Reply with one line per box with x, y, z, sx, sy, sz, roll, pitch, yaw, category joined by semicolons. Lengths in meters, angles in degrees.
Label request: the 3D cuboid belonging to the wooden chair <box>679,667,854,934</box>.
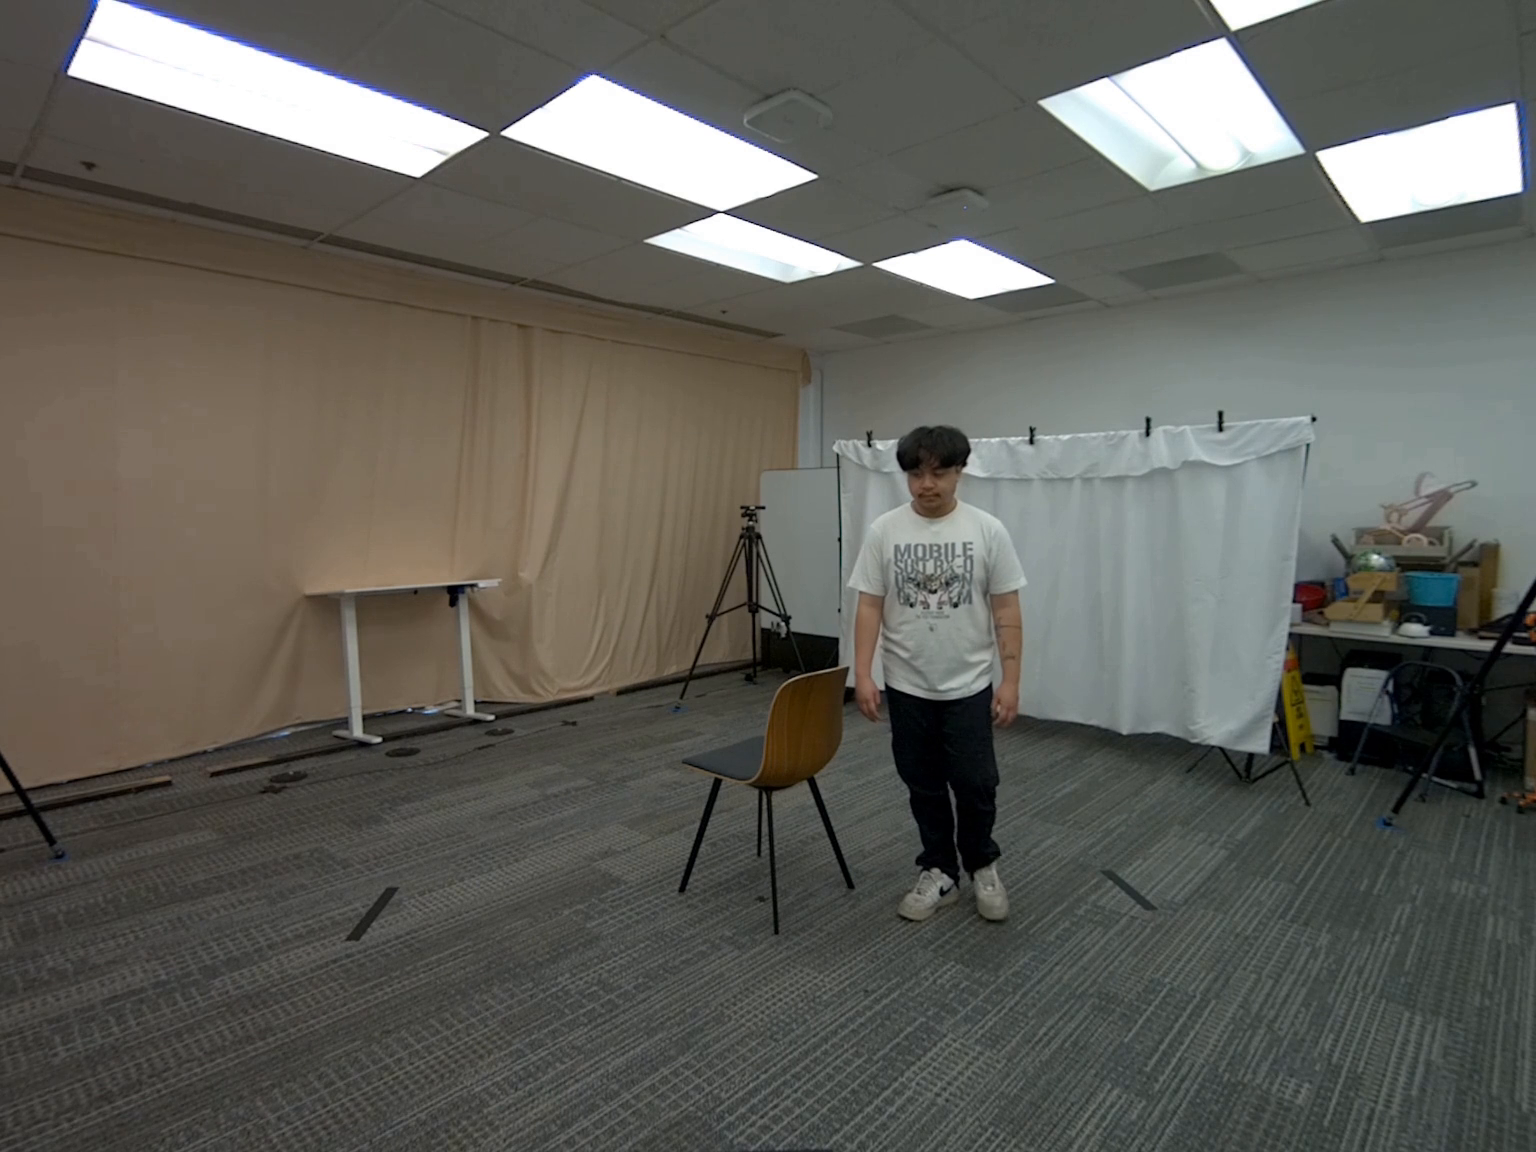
-0.010;0.715;3.023;0.541;0.874;0.463;9;9;41;wooden chair
